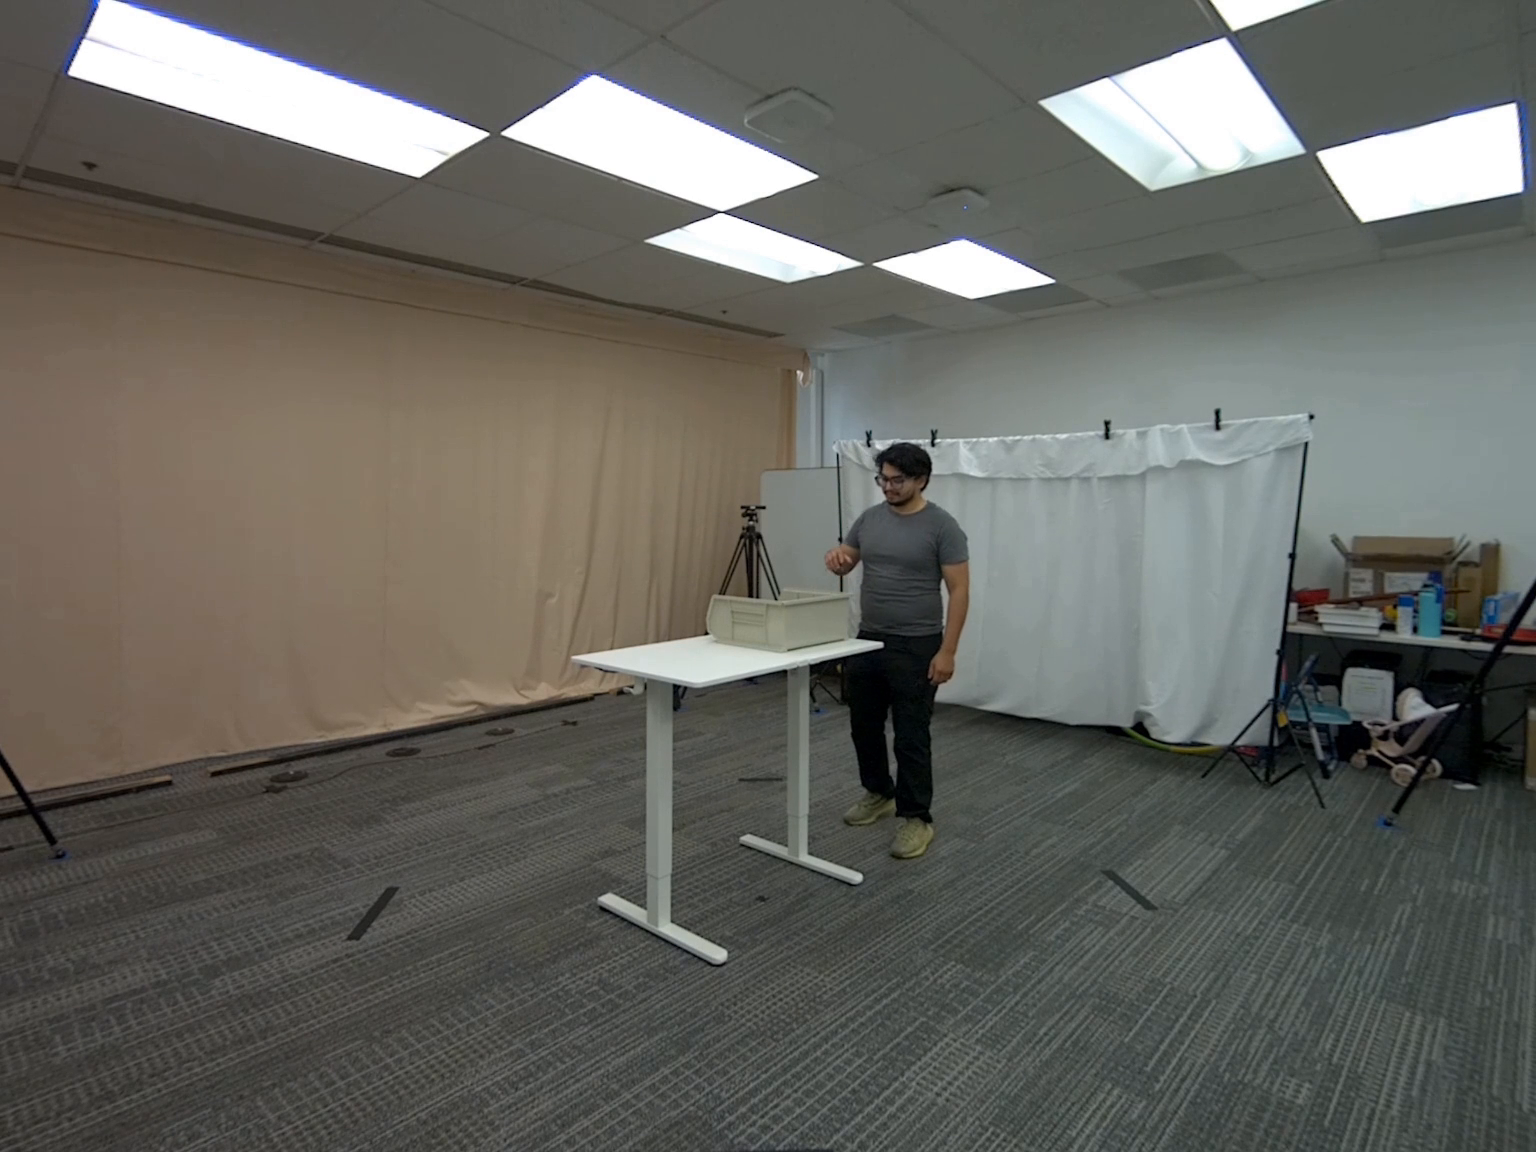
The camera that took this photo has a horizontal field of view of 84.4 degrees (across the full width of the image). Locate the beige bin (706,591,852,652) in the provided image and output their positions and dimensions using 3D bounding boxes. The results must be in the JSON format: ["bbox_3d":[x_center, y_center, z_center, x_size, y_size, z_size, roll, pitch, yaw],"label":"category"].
[{"bbox_3d":[0.046,0.157,3.177,0.390,0.188,0.409,5,6,42],"label":"beige bin"}]
